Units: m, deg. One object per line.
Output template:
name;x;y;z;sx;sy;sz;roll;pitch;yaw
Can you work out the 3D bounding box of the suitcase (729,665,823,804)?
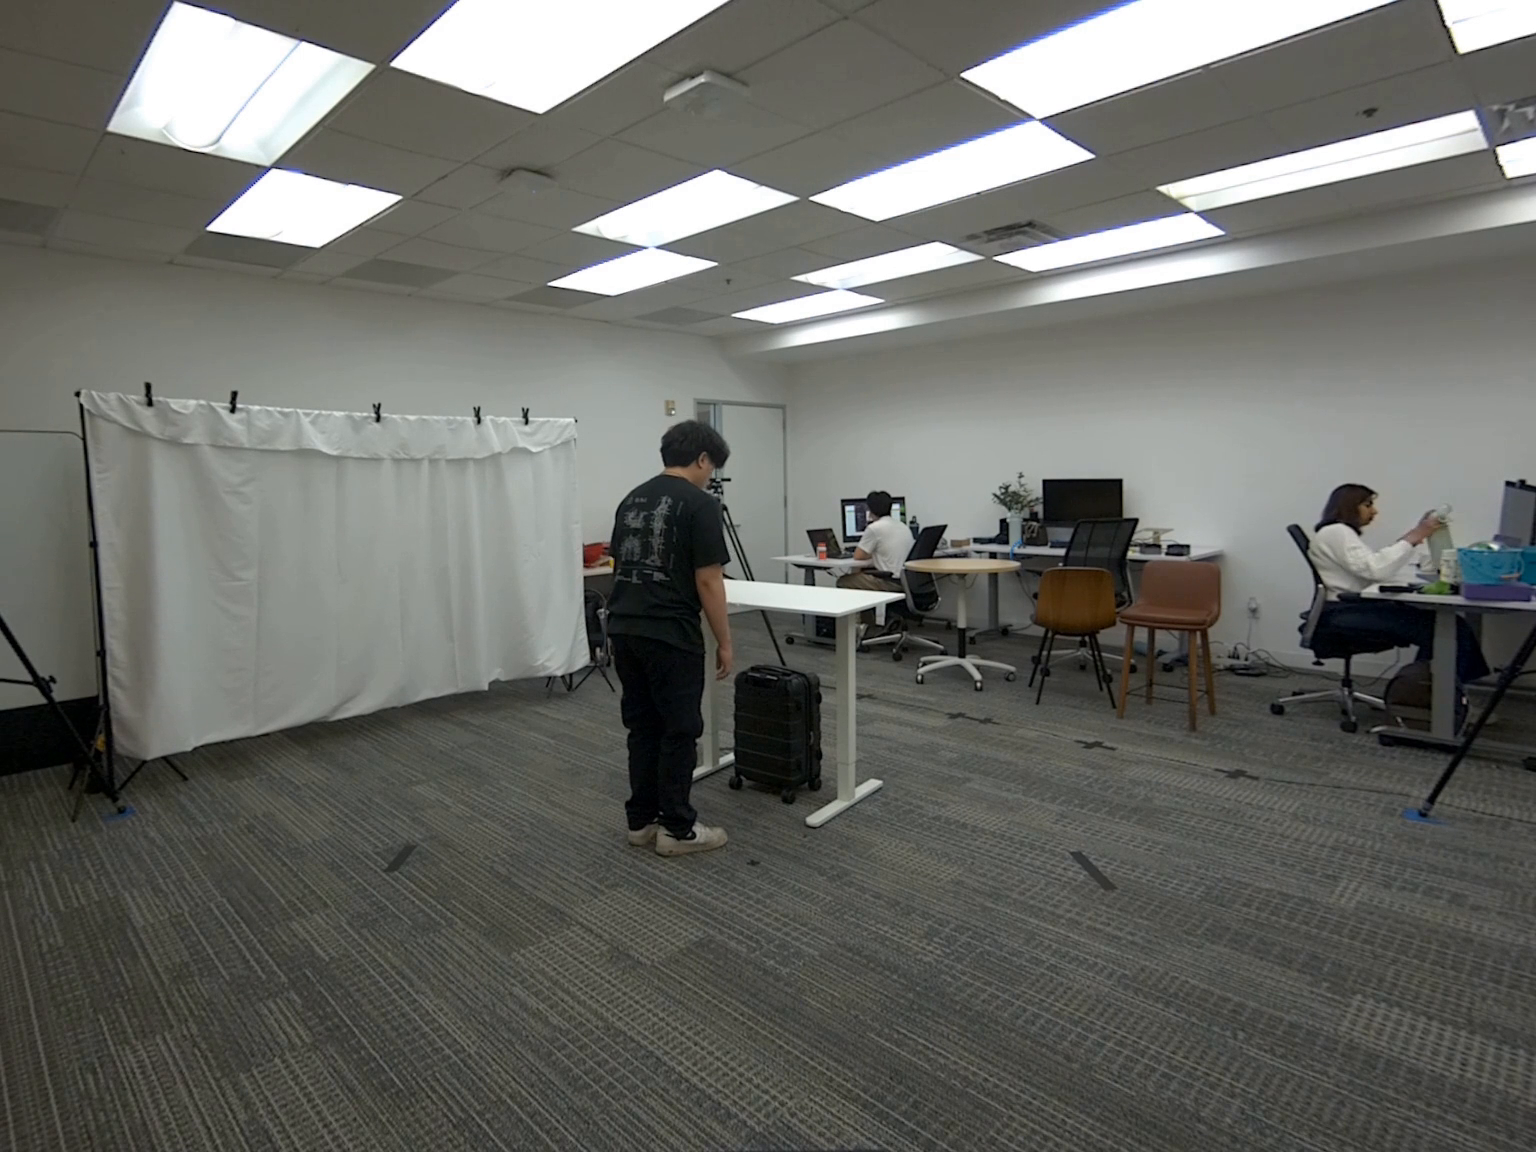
suitcase;0.039;0.683;3.853;0.386;0.549;0.241;1;2;39
